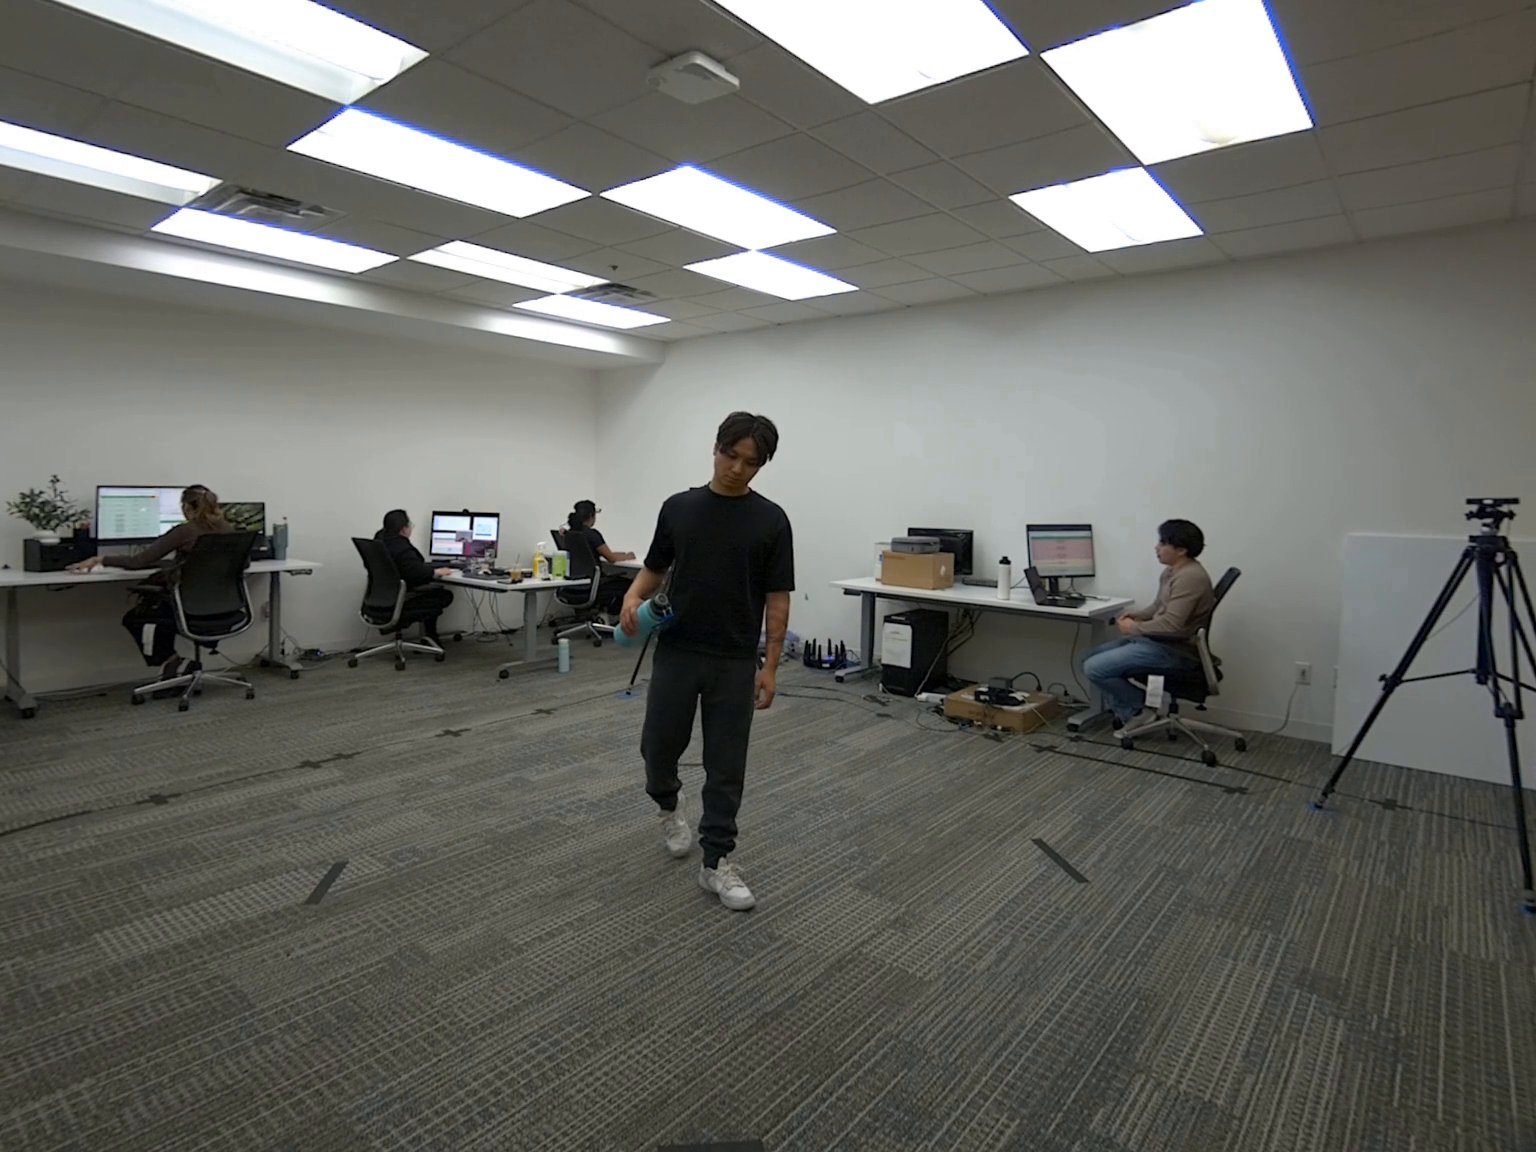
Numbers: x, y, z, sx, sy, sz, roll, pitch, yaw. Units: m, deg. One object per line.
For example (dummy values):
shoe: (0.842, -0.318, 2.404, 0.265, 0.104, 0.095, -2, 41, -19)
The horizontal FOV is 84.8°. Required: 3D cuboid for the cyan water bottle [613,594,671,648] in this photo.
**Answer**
cyan water bottle: (-0.419, 0.149, 2.841, 0.089, 0.094, 0.286, -2, -22, -40)
